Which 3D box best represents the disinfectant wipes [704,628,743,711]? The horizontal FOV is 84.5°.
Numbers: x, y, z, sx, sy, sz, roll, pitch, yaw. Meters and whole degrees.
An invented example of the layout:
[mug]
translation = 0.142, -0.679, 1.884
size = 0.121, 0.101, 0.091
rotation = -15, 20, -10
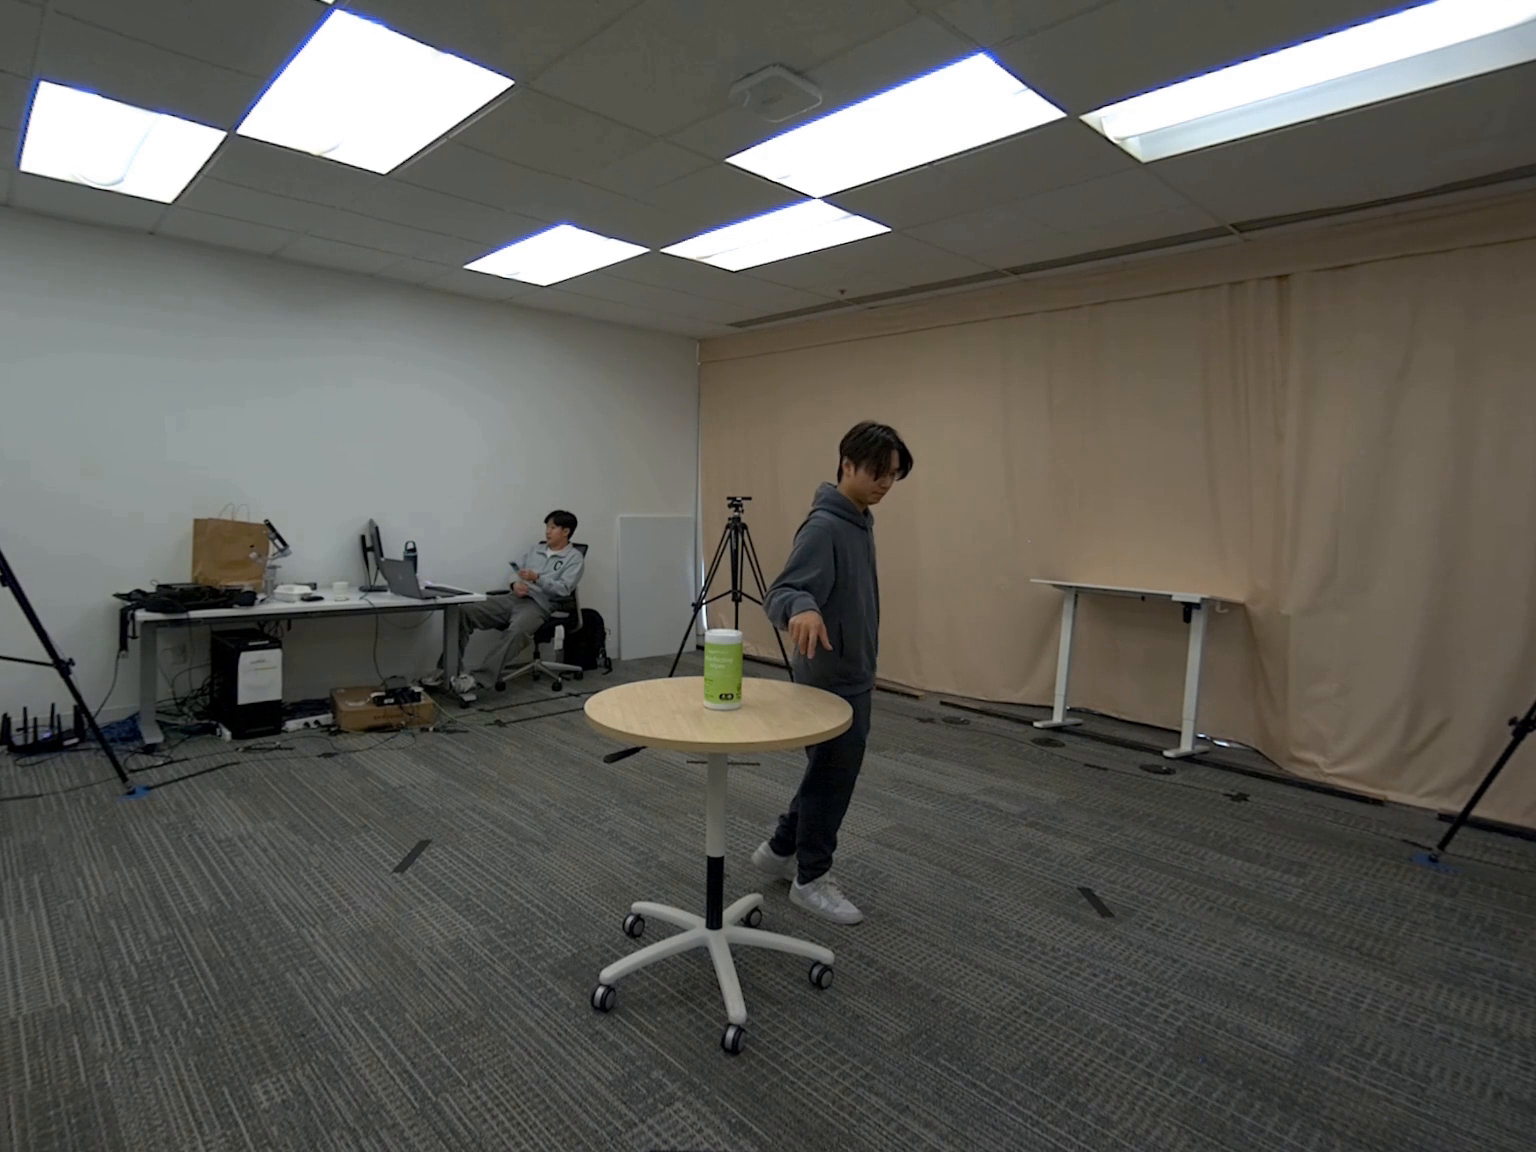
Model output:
[disinfectant wipes]
translation = -0.134, 0.268, 2.396
size = 0.118, 0.217, 0.118
rotation = 1, 2, -1
